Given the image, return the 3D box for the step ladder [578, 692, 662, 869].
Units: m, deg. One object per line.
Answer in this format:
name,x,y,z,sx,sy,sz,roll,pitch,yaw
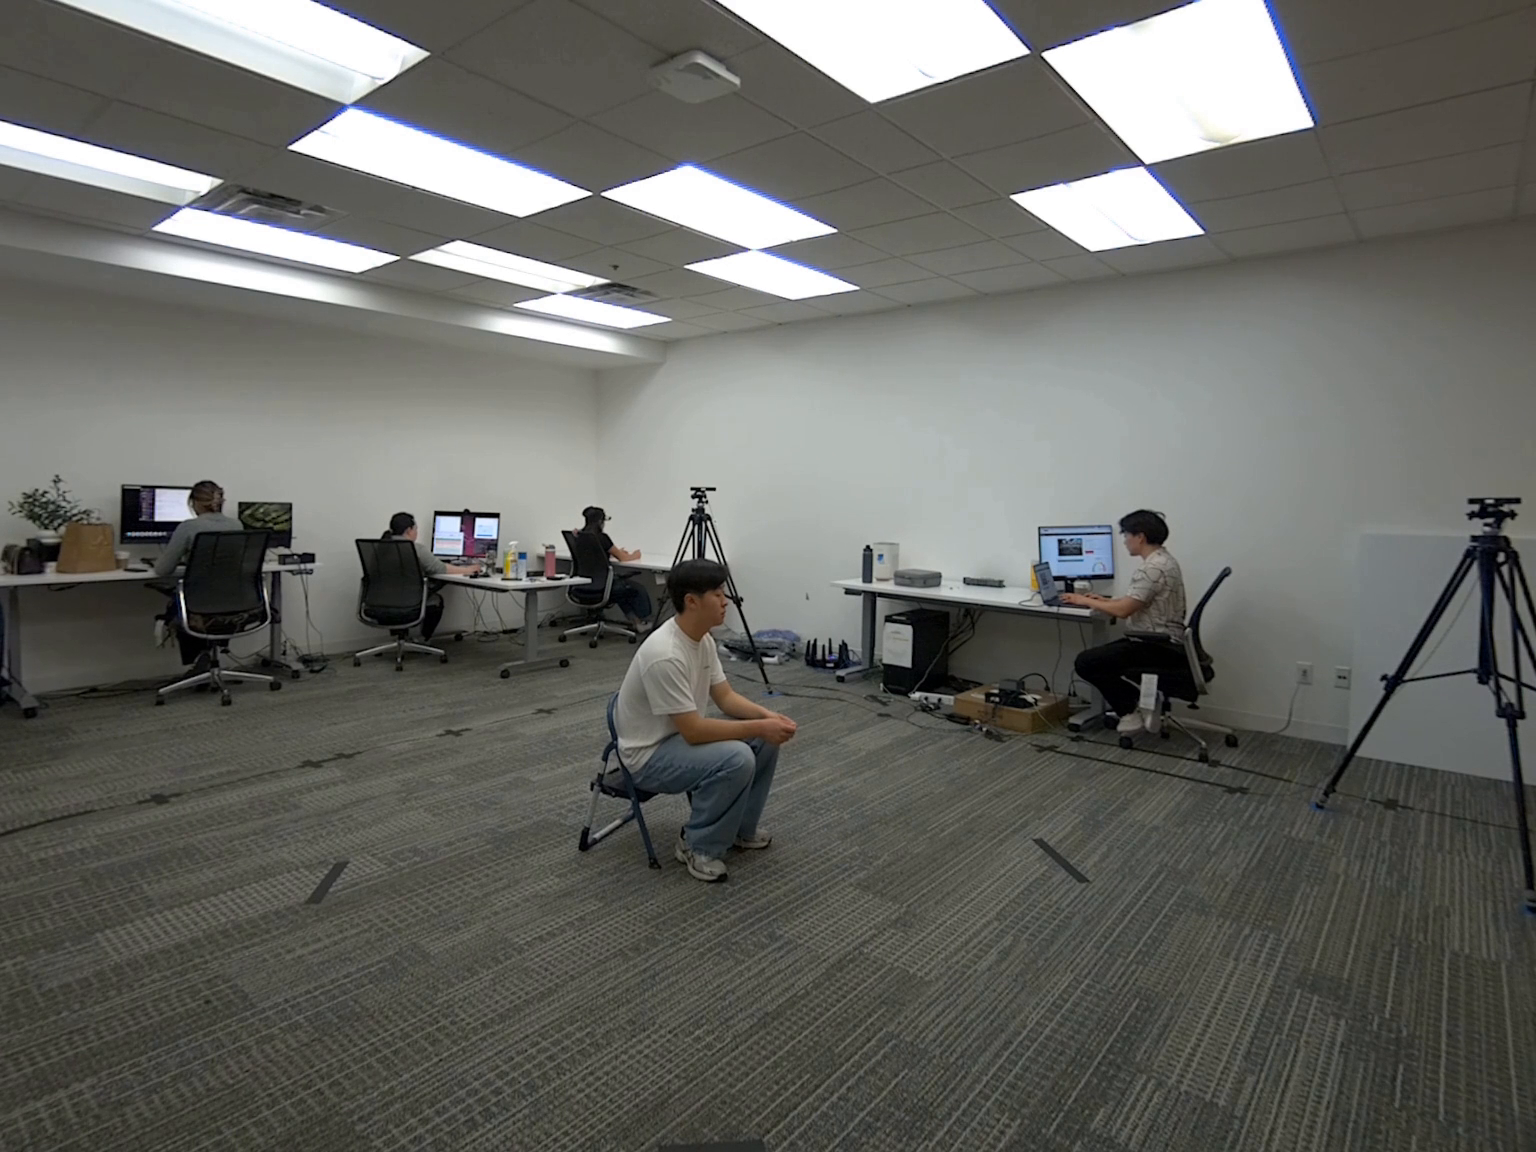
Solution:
step ladder,-0.501,0.739,3.347,0.357,0.605,0.421,2,3,22
